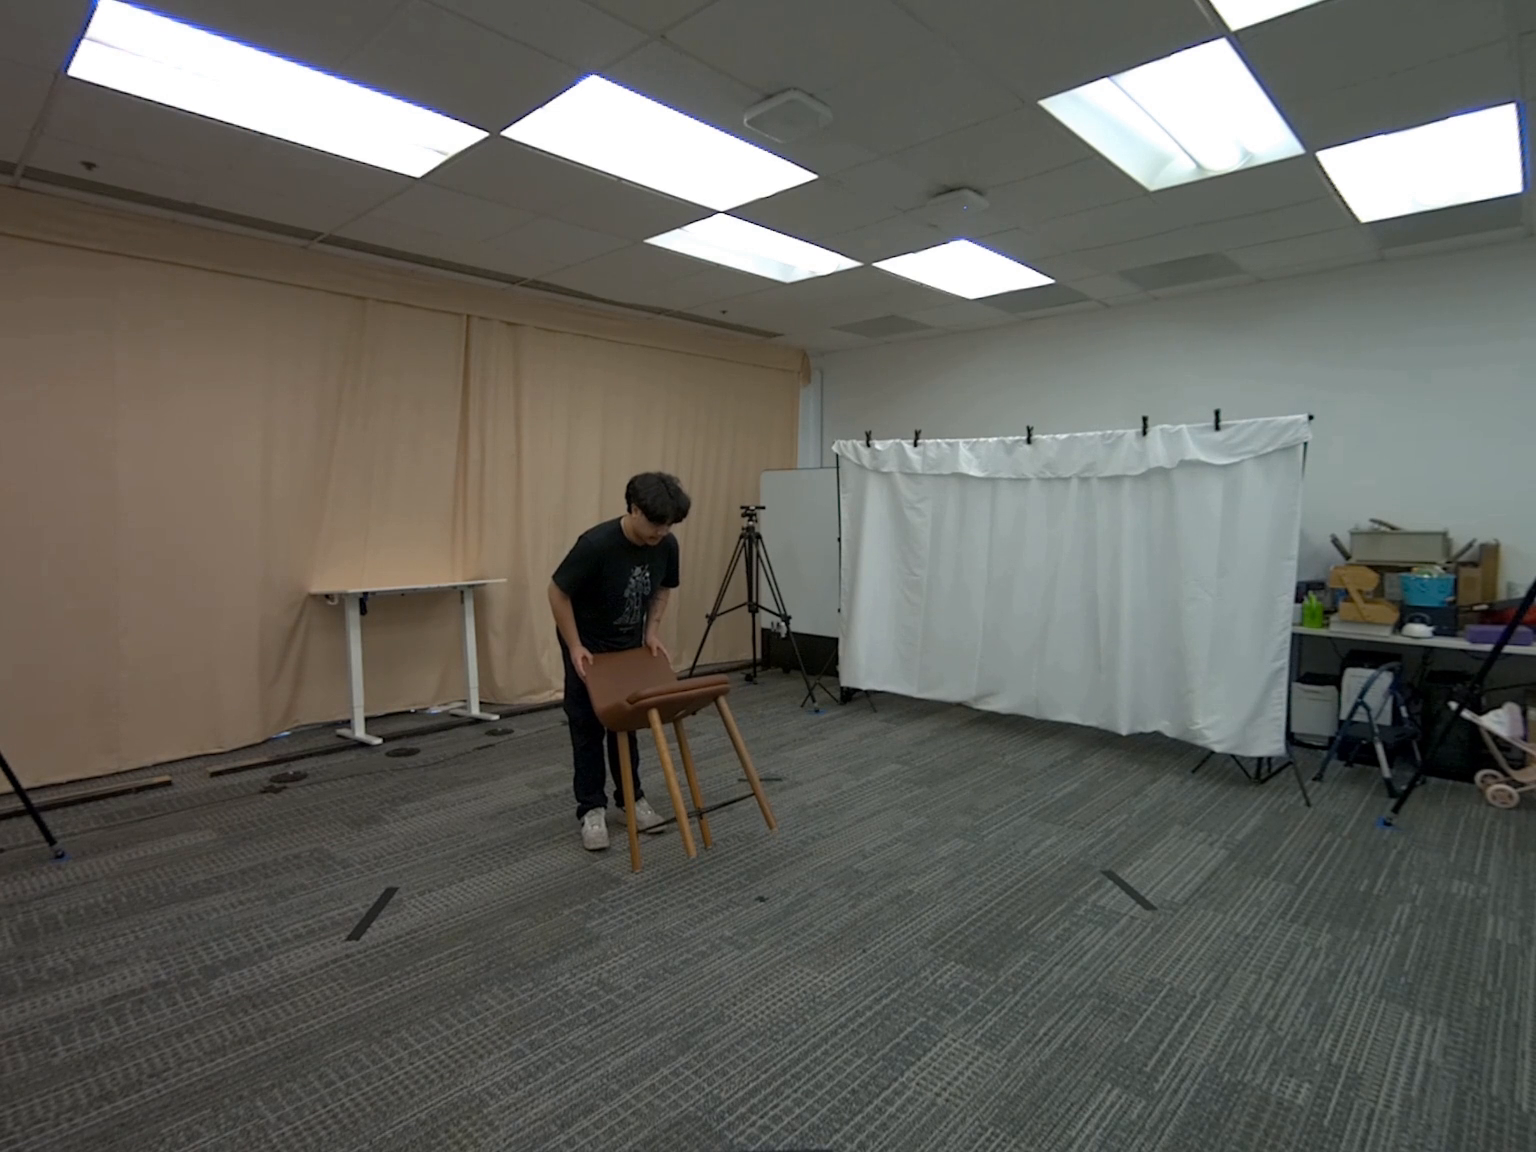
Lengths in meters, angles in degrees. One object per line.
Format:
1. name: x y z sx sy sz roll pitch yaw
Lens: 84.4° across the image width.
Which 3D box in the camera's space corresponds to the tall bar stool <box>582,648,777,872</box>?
1. tall bar stool: -0.380 0.637 3.298 0.443 0.905 0.474 -4 -24 -39
